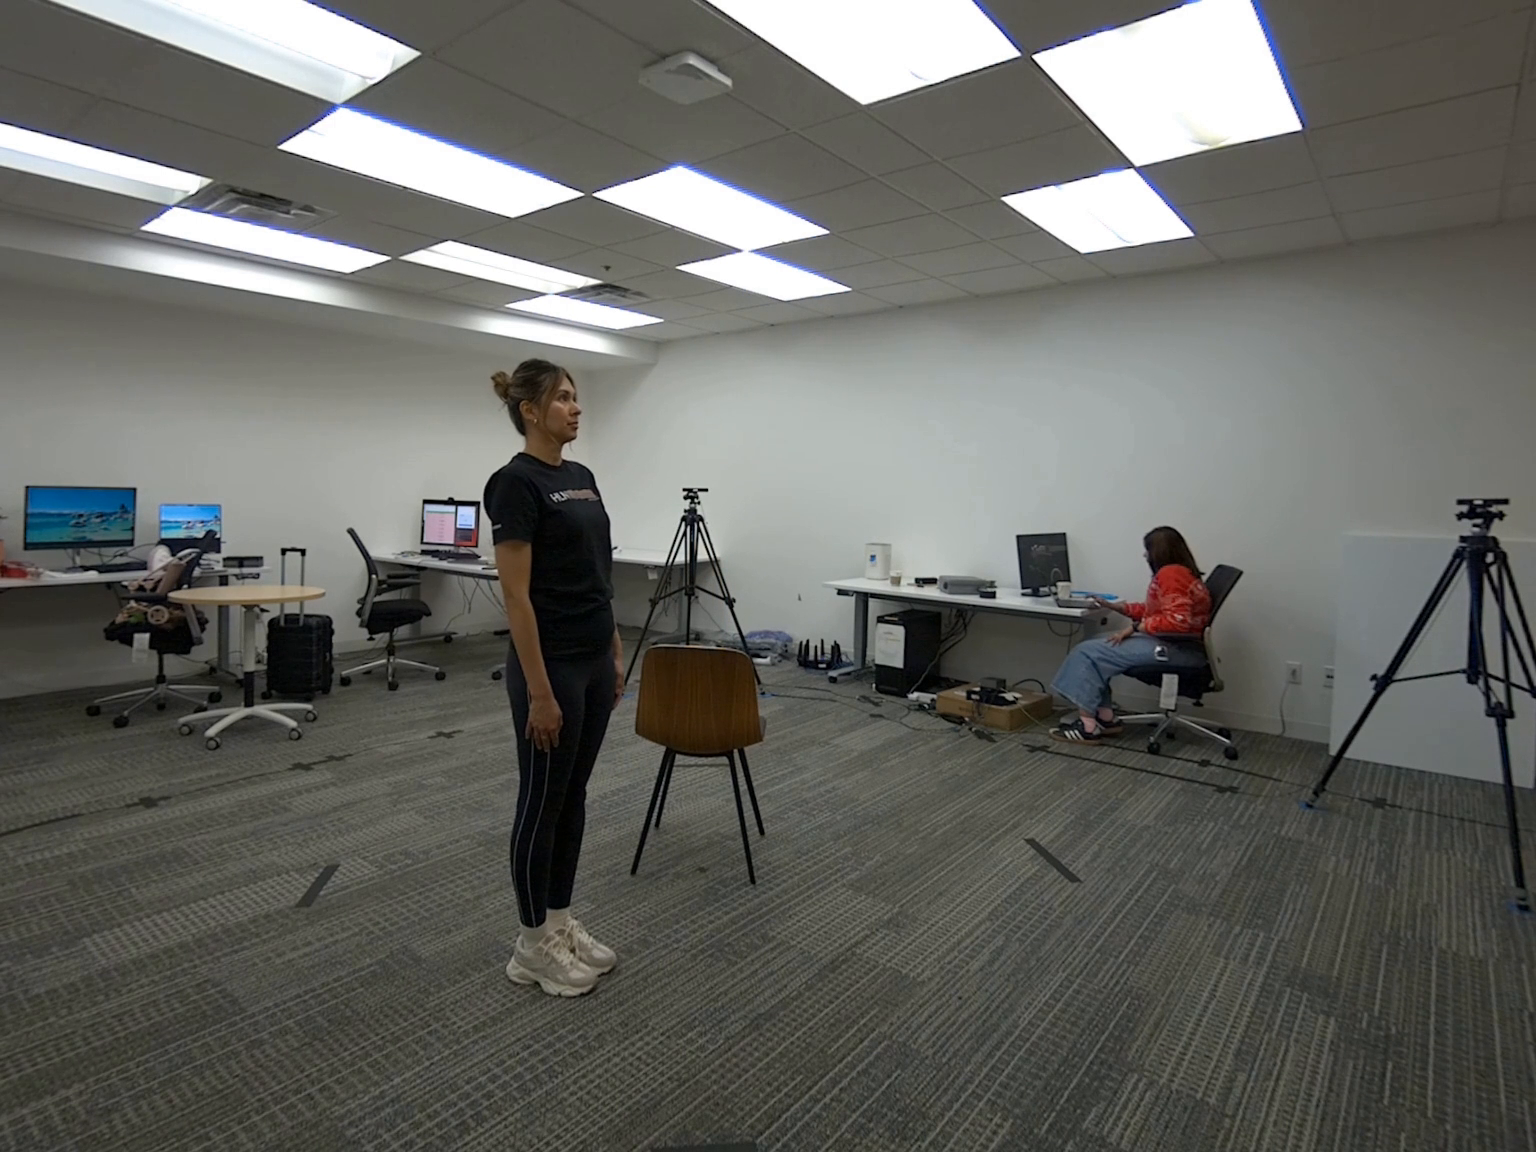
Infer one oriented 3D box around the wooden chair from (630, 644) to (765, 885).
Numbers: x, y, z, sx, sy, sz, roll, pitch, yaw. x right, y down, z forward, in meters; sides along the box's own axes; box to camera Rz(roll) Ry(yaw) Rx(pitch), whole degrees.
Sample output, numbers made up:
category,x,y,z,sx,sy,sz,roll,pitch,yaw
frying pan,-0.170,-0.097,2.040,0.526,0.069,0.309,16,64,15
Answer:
category,x,y,z,sx,sy,sz,roll,pitch,yaw
wooden chair,-0.255,0.628,3.226,0.482,0.871,0.523,1,7,6
